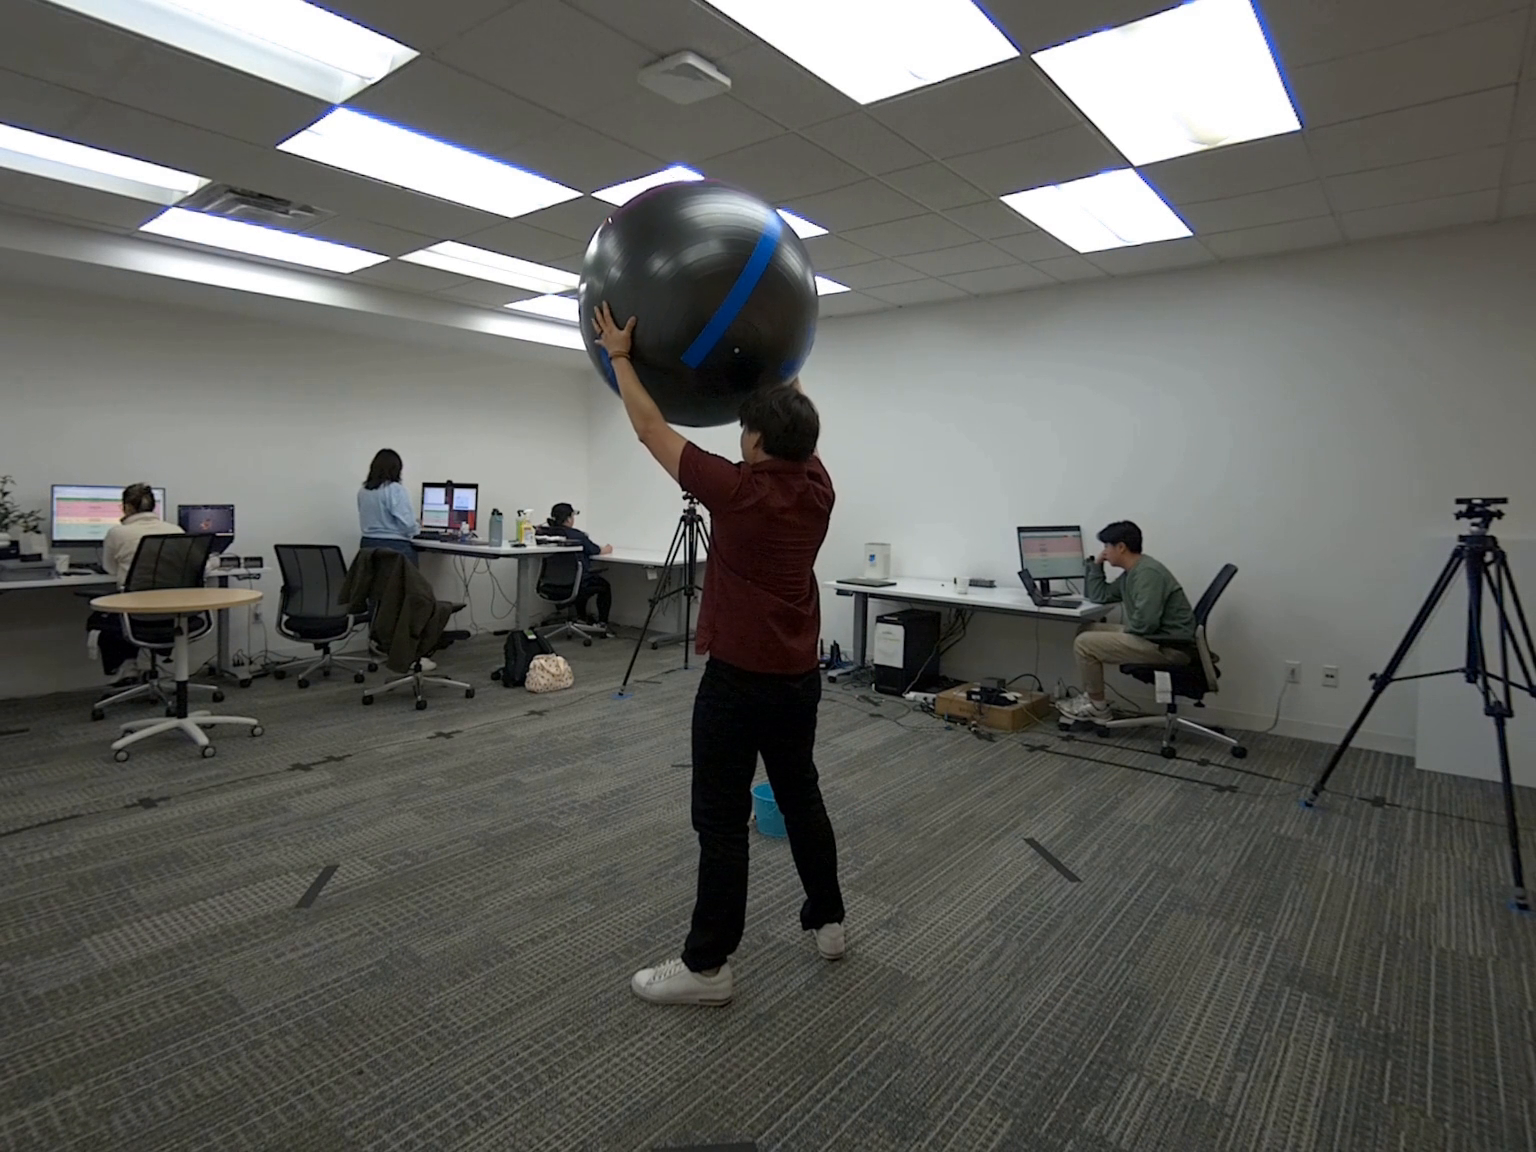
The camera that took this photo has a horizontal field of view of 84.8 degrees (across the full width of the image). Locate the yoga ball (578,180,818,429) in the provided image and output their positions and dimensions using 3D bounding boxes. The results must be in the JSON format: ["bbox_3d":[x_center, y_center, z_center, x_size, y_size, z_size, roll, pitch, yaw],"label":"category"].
[{"bbox_3d":[-0.232,-0.849,2.696,0.757,0.756,0.762,1,4,-2],"label":"yoga ball"}]
